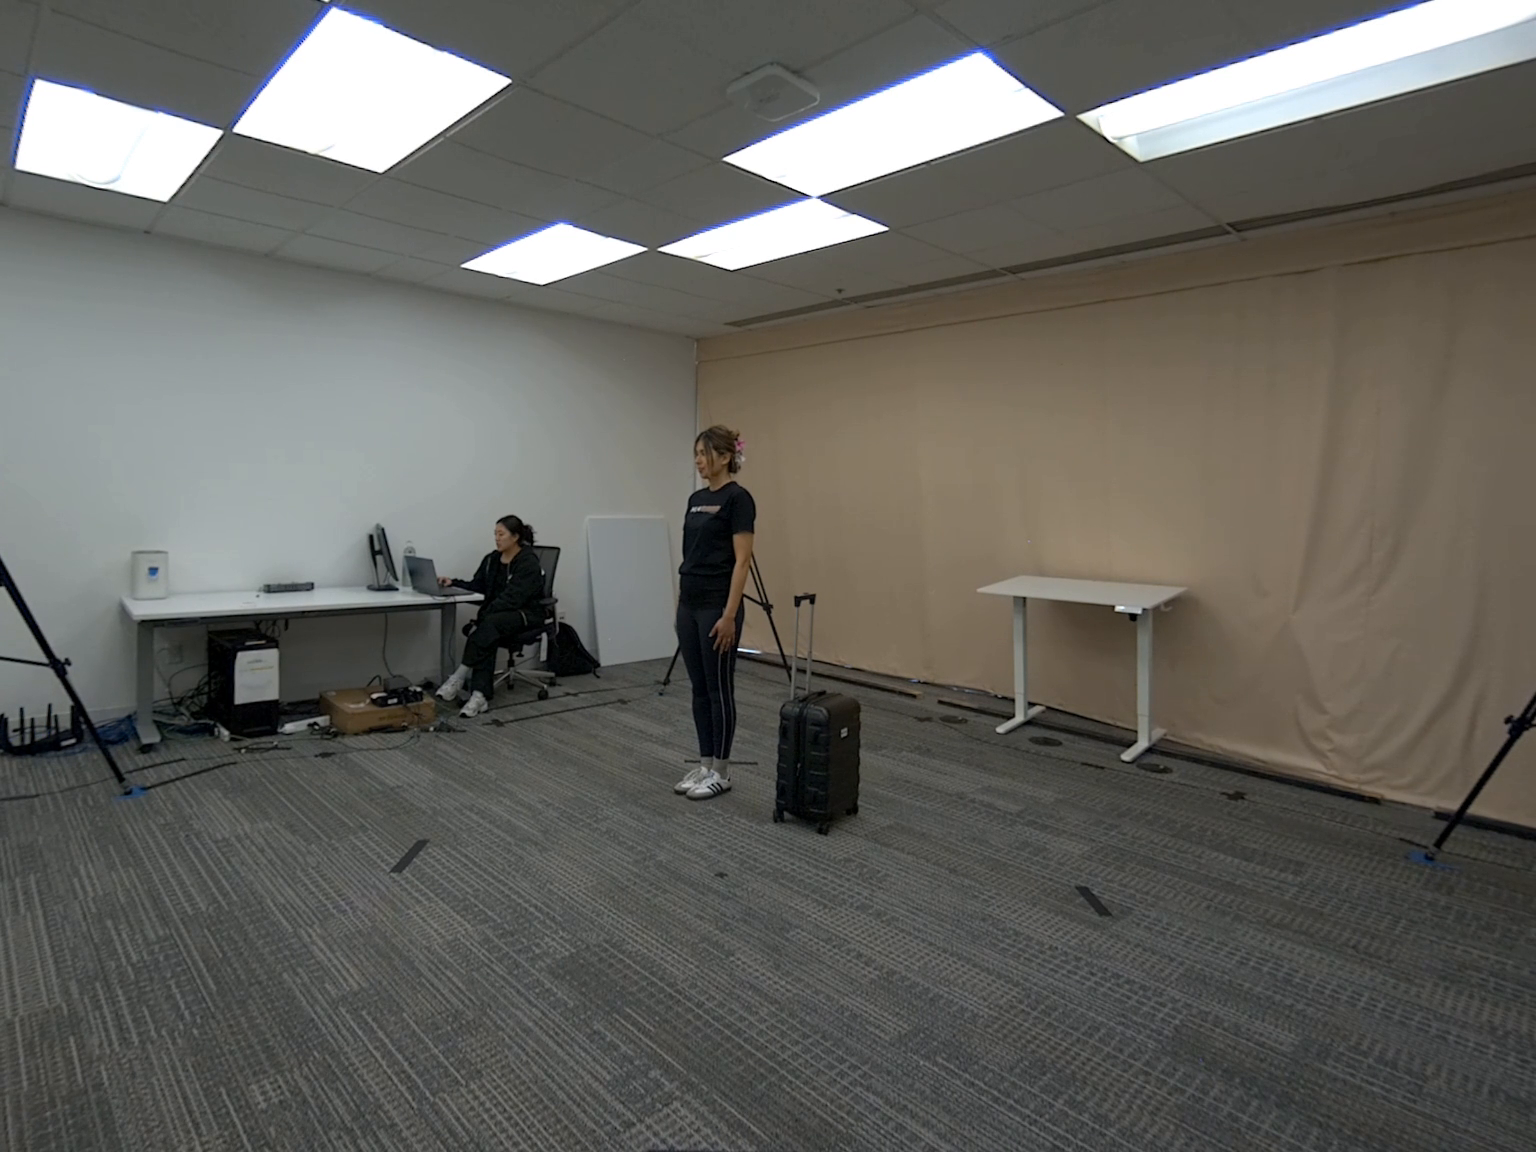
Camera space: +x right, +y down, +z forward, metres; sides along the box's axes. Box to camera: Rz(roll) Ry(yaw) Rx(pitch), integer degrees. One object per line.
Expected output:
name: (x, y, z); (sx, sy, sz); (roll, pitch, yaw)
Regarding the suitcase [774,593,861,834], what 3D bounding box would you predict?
suitcase: (0.228, 0.586, 3.658); (0.263, 0.976, 0.376); (5, 4, 32)
